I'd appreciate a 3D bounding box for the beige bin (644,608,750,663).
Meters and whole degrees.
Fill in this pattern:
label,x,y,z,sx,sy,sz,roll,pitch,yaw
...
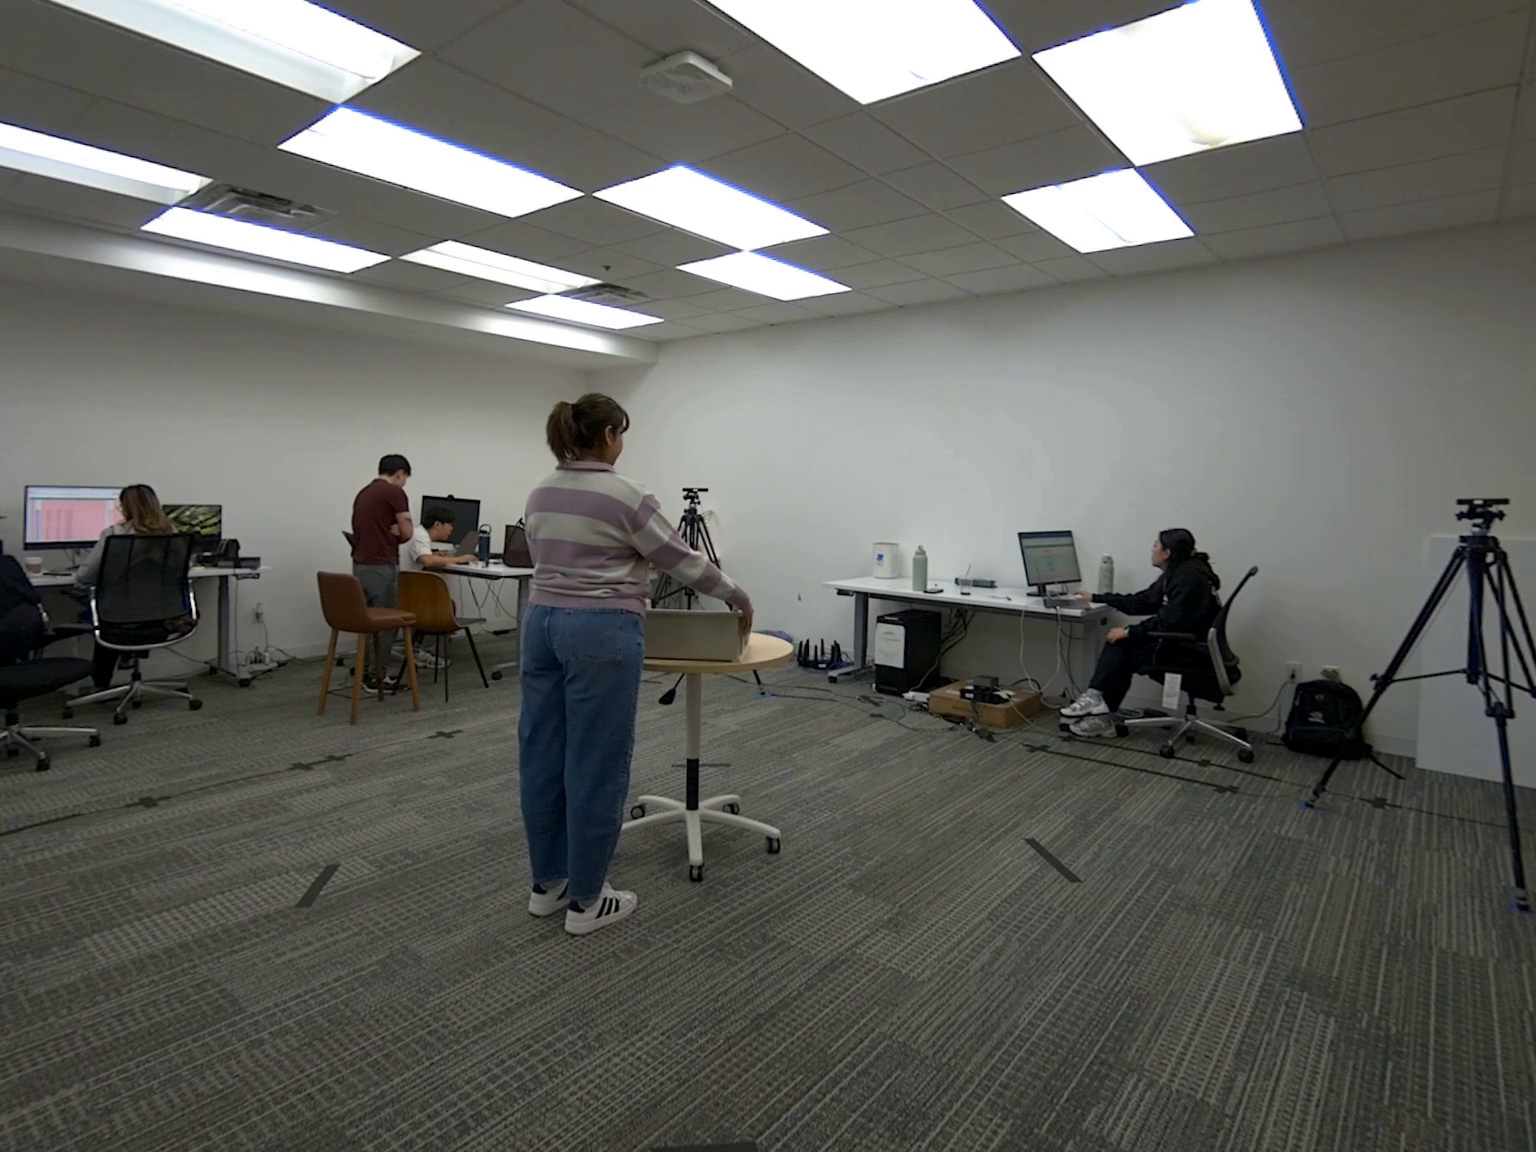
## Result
label,x,y,z,sx,sy,sz,roll,pitch,yaw
beige bin,-0.296,0.193,3.162,0.425,0.188,0.376,1,4,5
